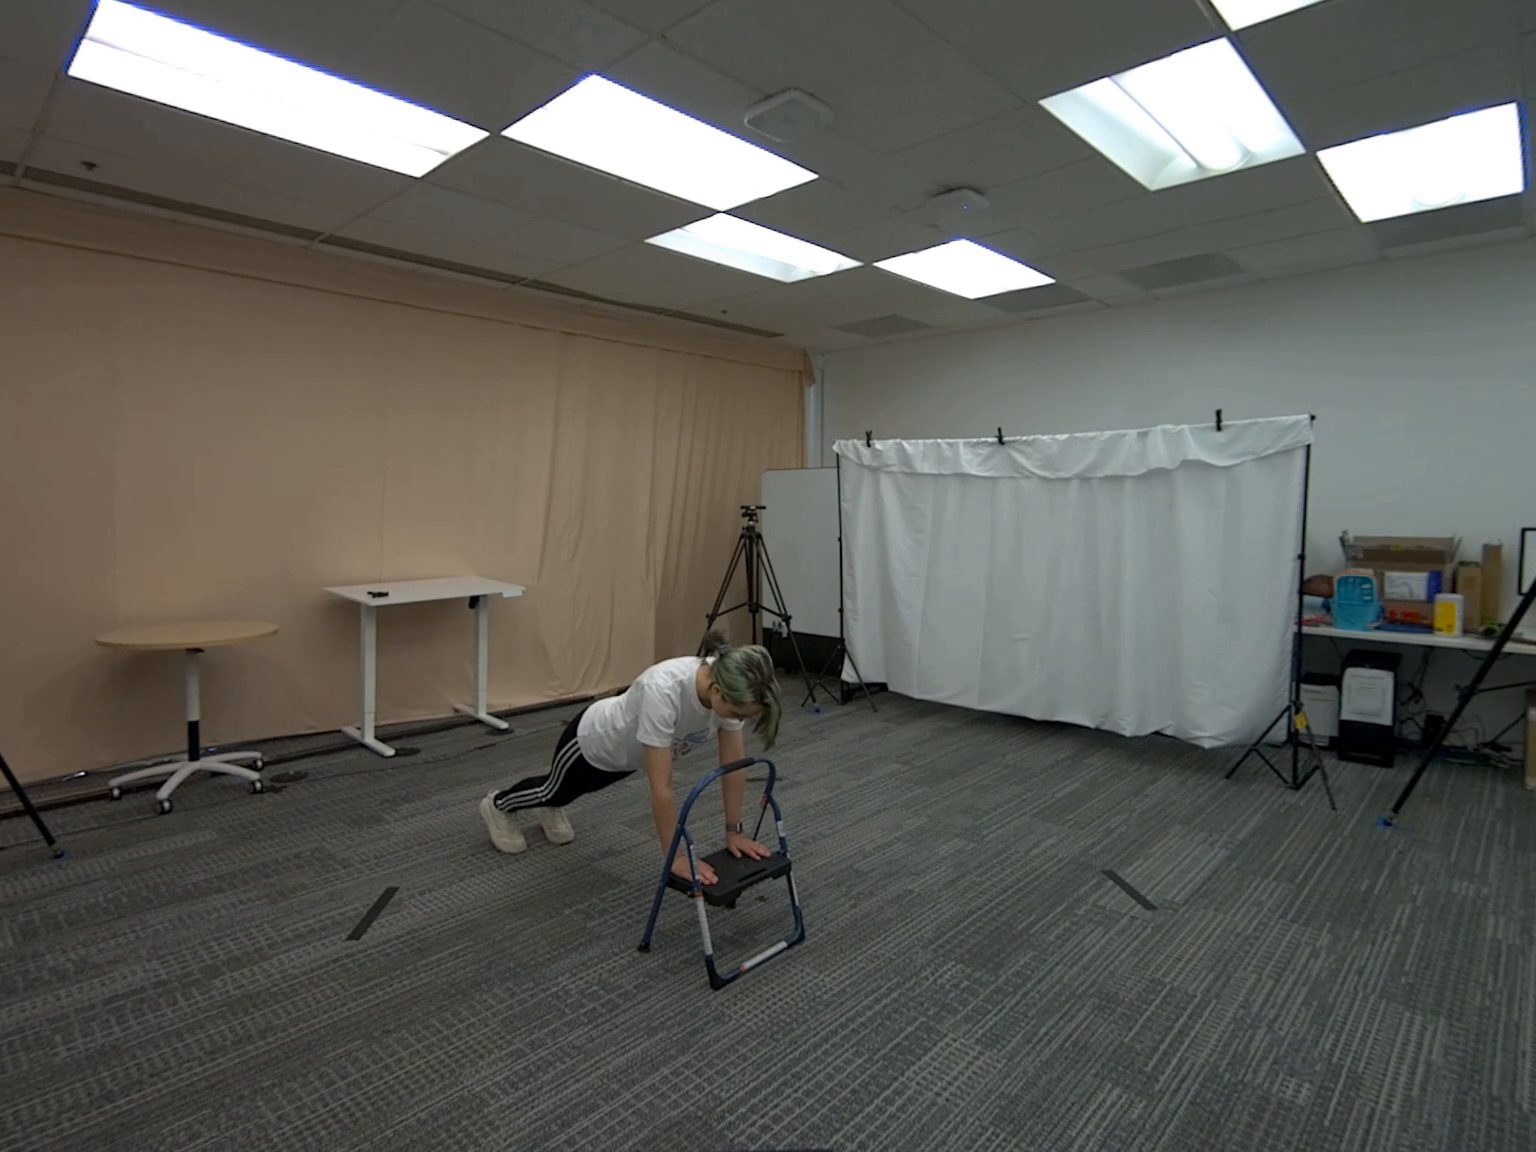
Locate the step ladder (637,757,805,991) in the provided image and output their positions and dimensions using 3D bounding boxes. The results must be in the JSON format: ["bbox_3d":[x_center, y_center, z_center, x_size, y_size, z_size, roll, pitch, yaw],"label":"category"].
[{"bbox_3d":[-0.138,0.871,2.661,0.361,0.605,0.417,3,4,42],"label":"step ladder"}]
